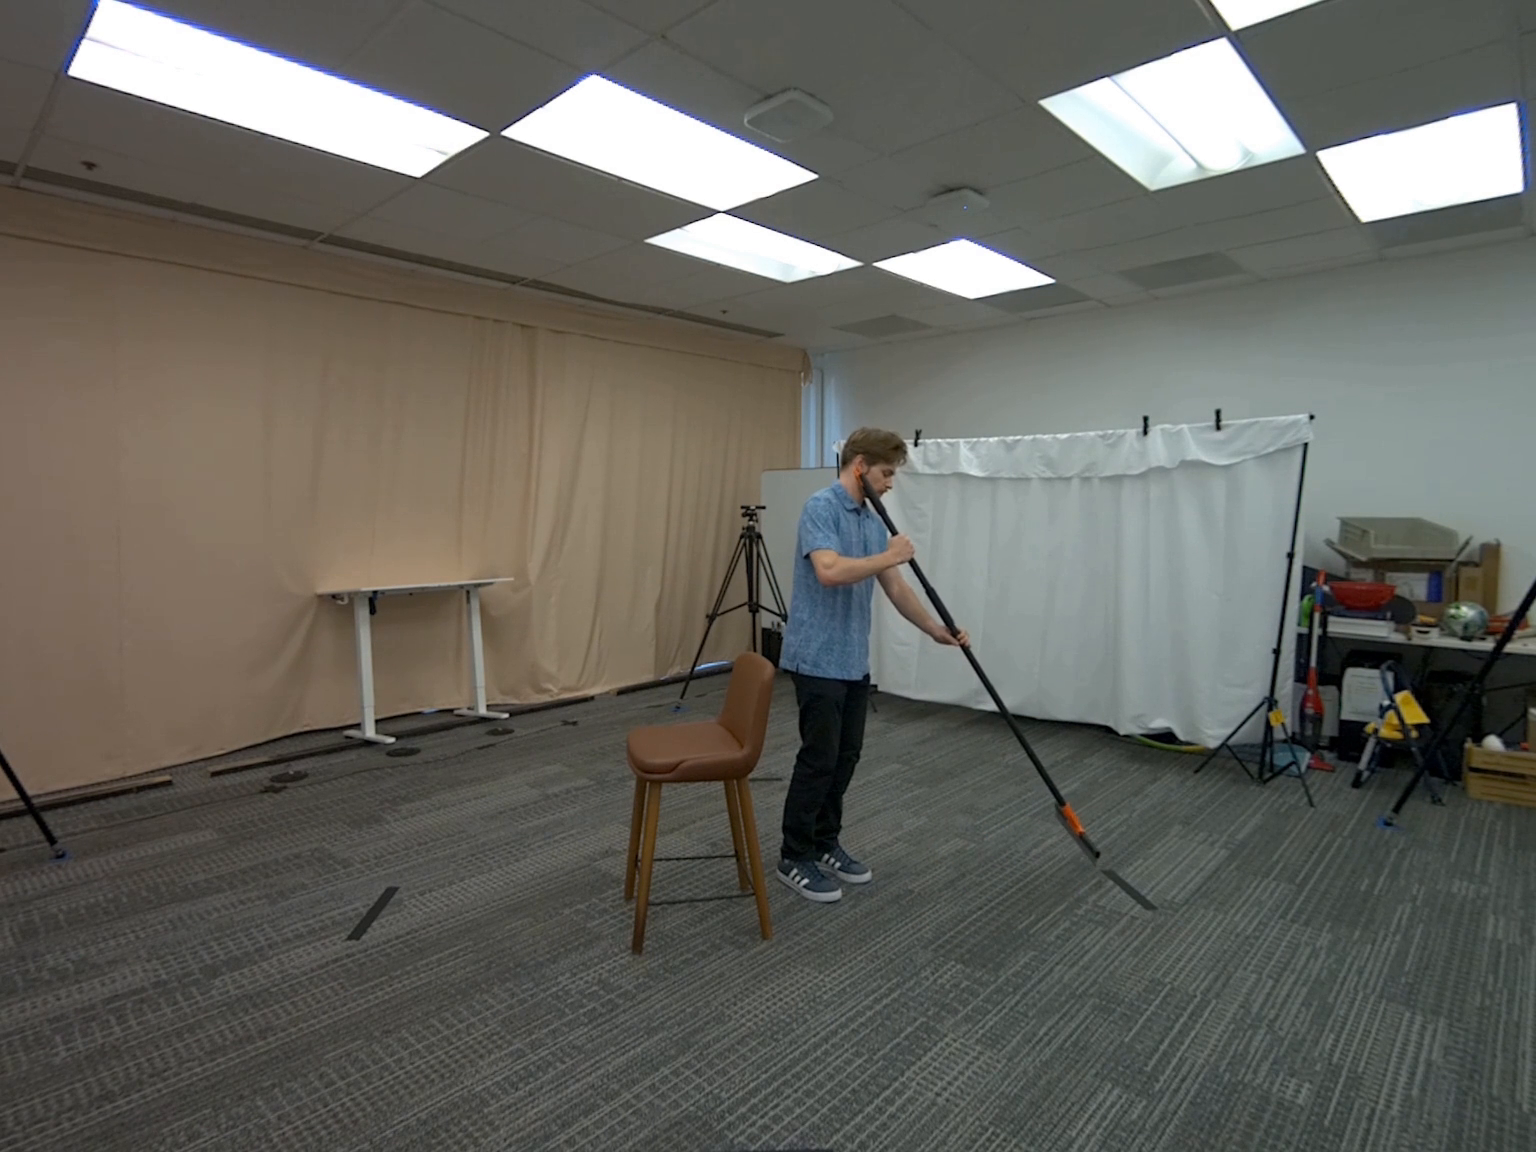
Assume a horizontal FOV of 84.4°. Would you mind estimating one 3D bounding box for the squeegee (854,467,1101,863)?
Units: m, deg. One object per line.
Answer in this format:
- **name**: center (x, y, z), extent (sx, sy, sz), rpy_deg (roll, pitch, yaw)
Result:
- **squeegee**: center (0.748, 0.307, 2.987), extent (0.053, 1.530, 0.438), rpy_deg (-30, 4, 5)
